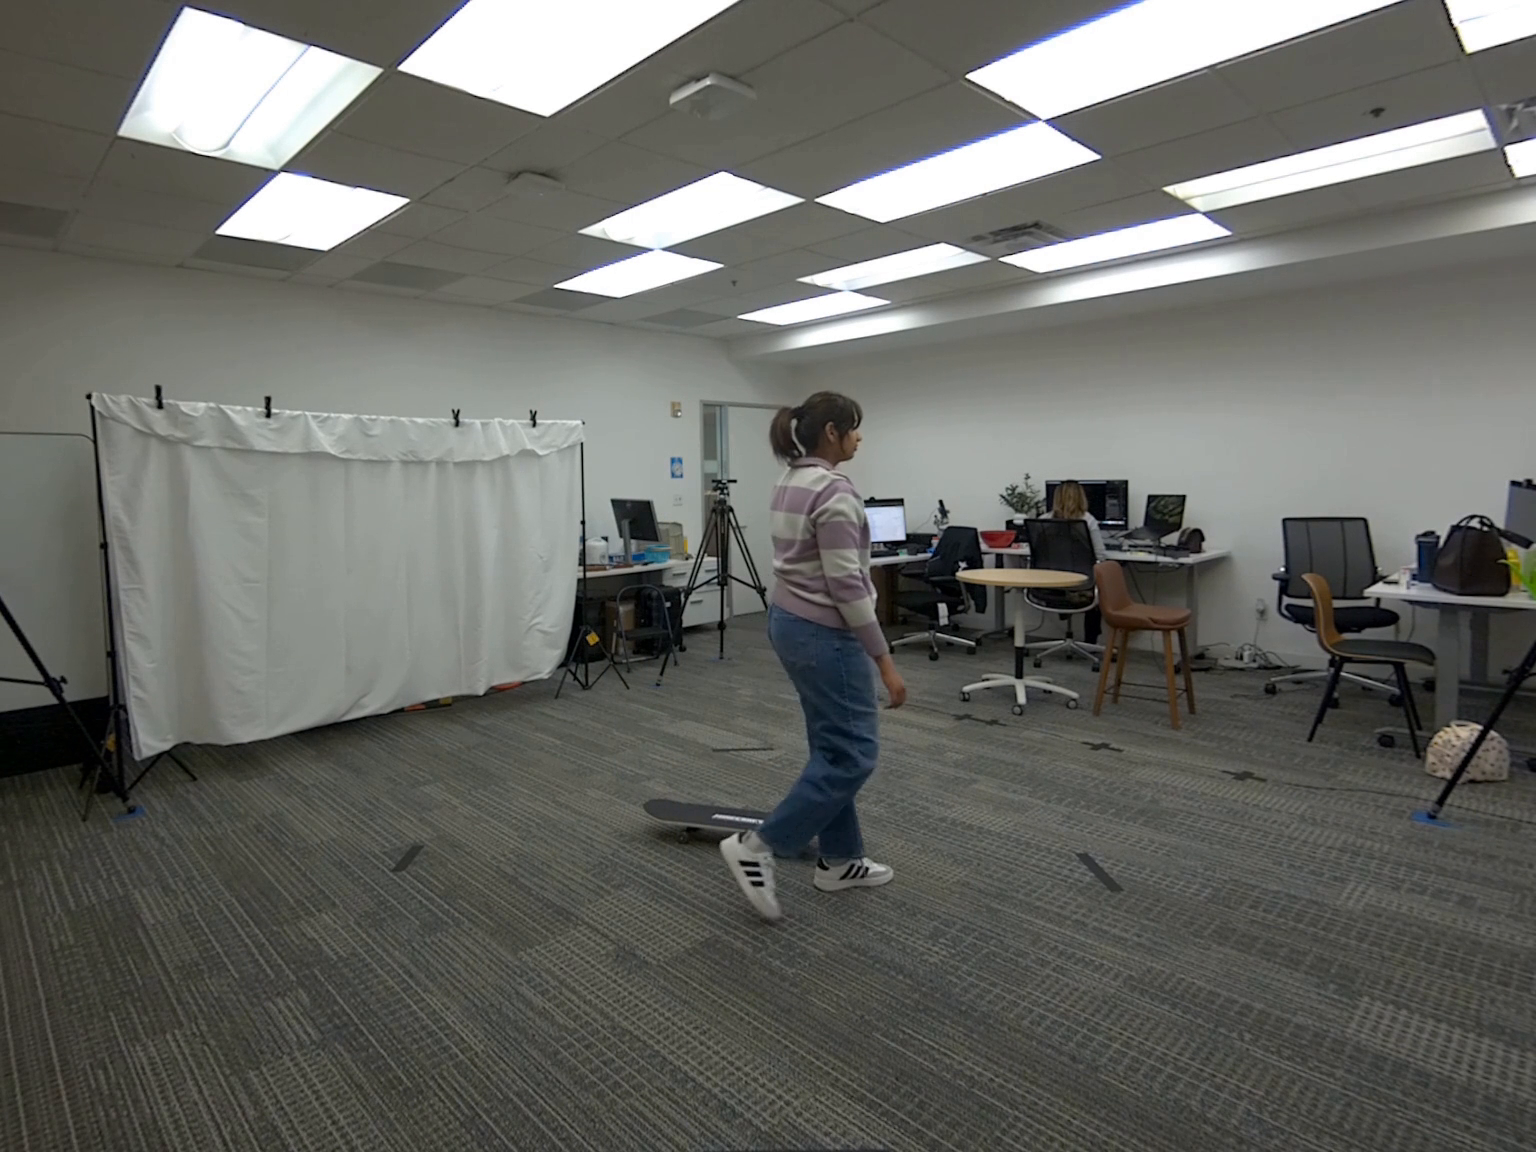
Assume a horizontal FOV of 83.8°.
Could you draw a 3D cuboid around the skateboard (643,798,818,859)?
[{"bbox_3d":[-0.112,0.972,3.299,0.799,0.110,0.191,1,6,18],"label":"skateboard"}]
